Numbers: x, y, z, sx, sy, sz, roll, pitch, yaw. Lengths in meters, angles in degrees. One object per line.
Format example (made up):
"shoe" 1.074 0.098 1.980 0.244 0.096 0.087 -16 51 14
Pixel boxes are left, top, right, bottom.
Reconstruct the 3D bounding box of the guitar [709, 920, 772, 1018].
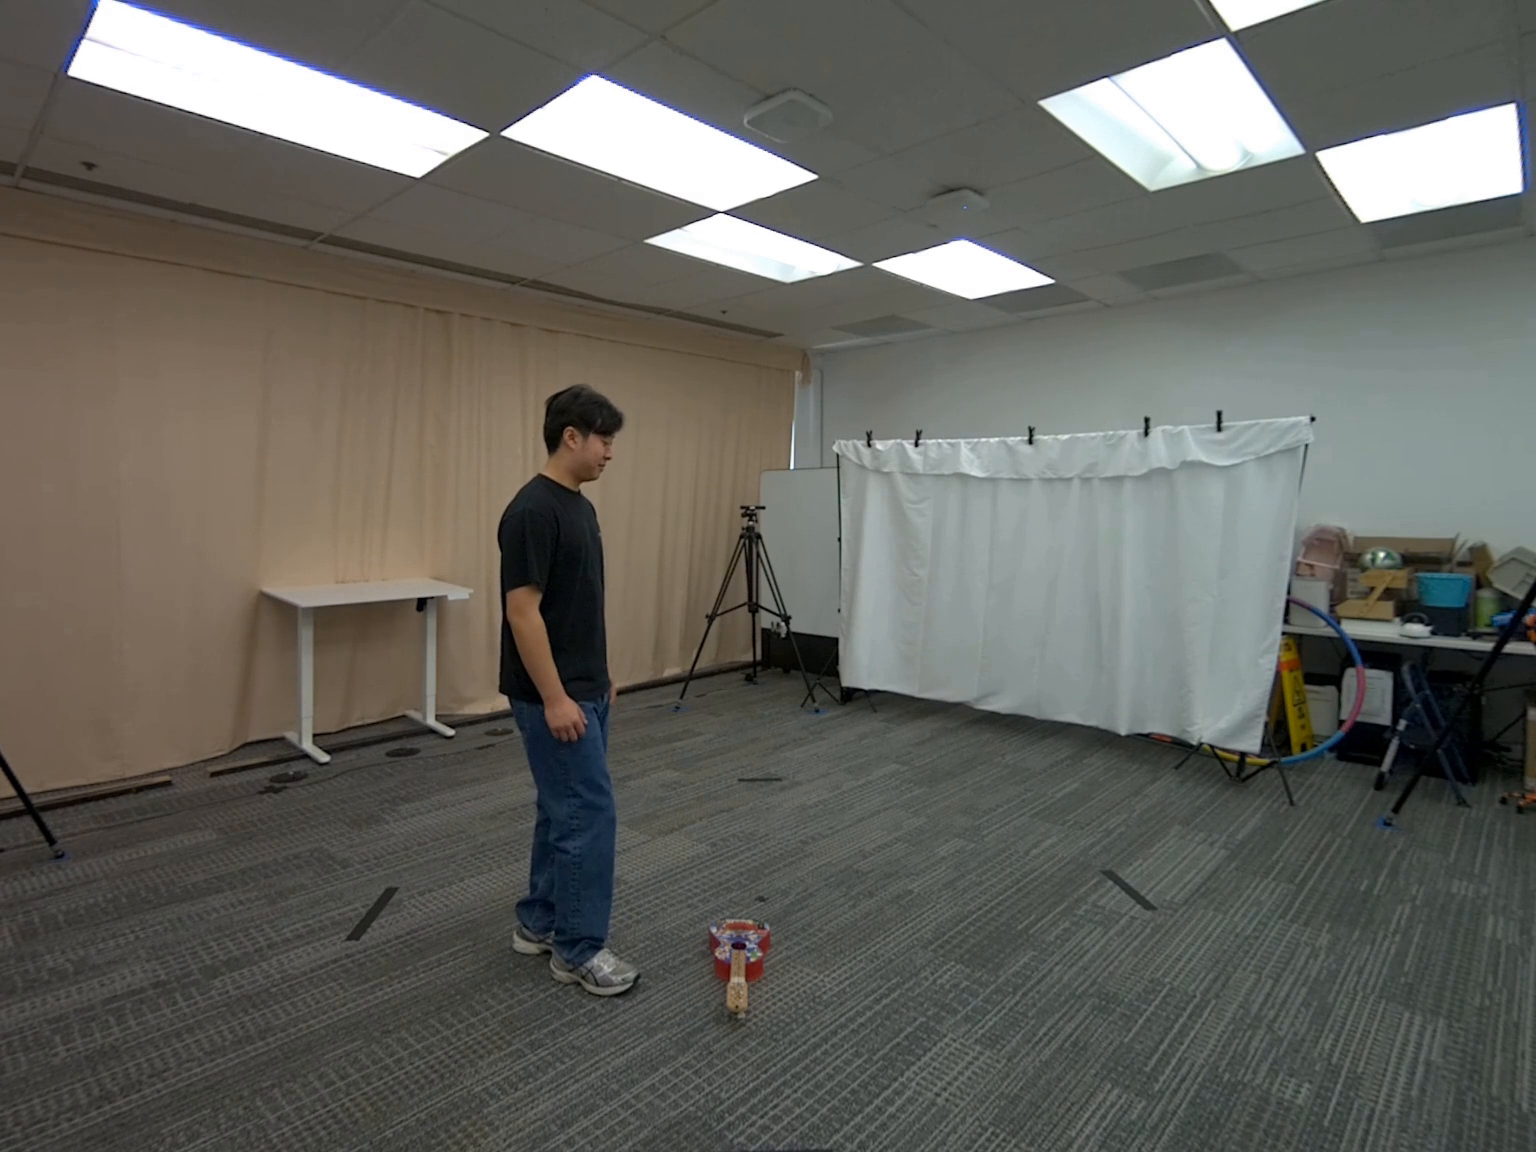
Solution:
"guitar" -0.107 1.153 2.472 0.195 0.070 0.494 1 4 8
